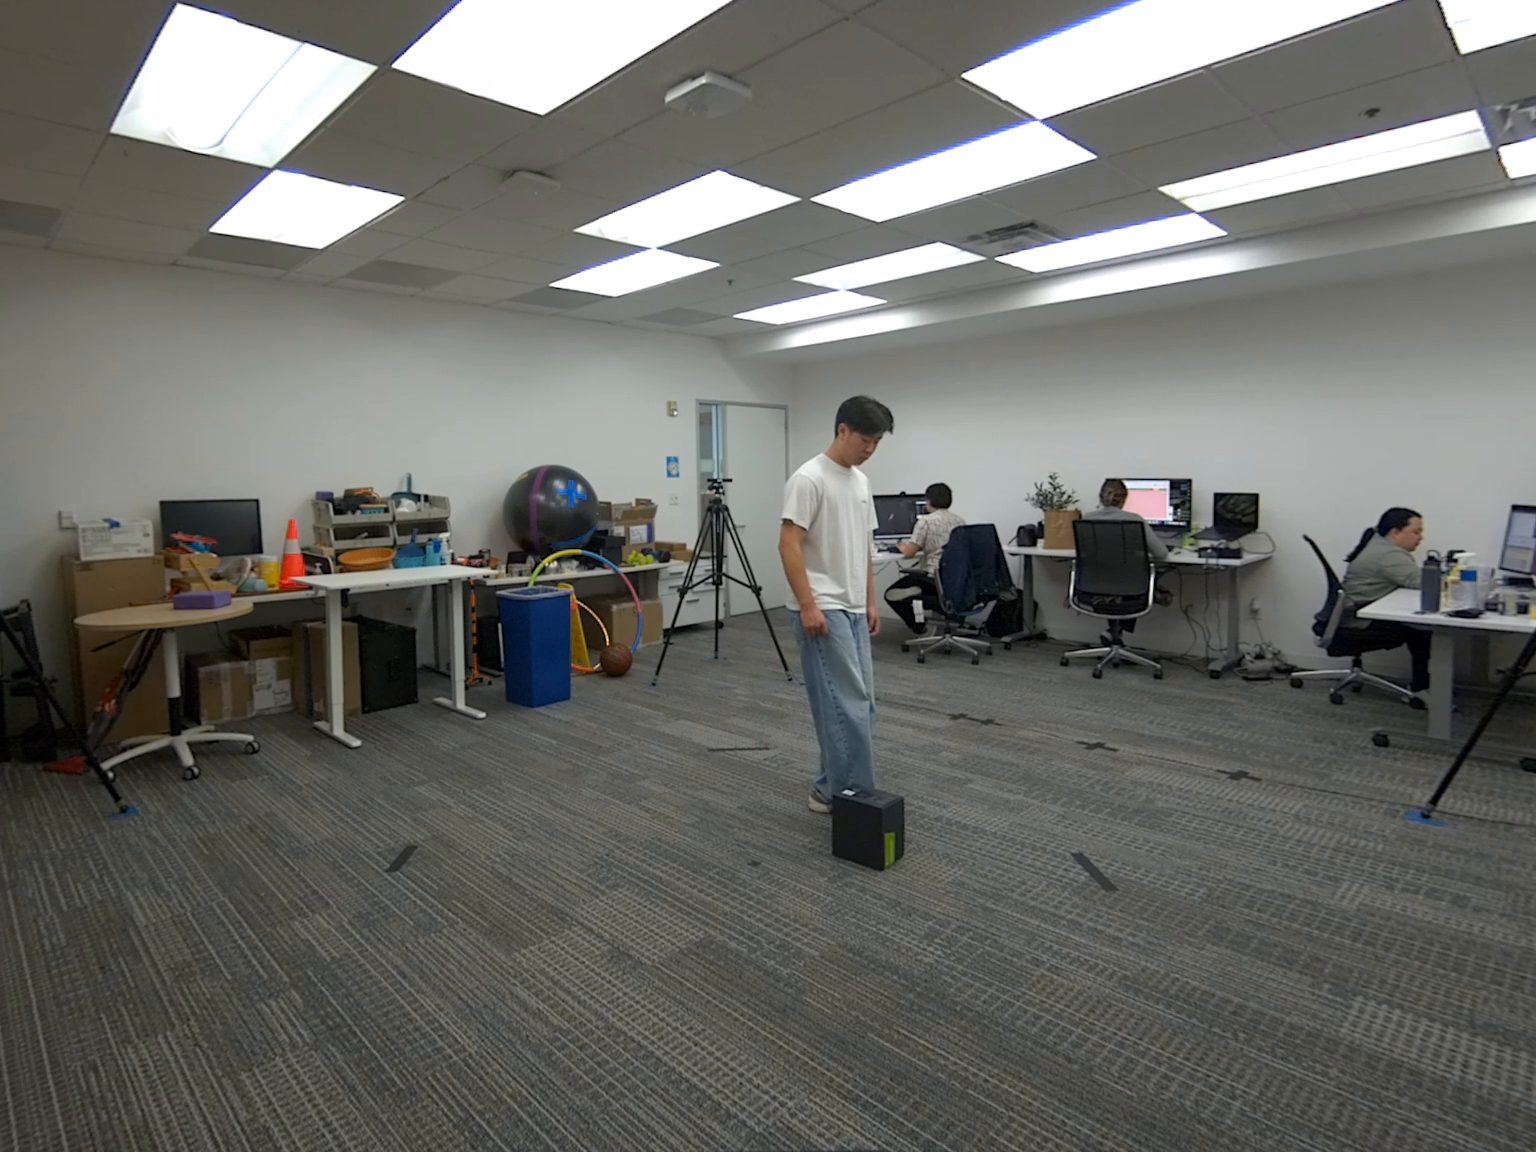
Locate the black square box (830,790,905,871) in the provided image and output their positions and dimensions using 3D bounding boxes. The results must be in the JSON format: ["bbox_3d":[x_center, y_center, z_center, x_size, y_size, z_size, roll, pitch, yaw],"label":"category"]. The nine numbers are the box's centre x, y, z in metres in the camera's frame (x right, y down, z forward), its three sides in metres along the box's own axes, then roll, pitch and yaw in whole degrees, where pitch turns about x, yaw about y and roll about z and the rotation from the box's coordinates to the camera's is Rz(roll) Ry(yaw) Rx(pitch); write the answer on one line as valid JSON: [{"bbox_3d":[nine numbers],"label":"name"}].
[{"bbox_3d":[0.359,0.917,3.133,0.223,0.227,0.152,3,6,38],"label":"black square box"}]
